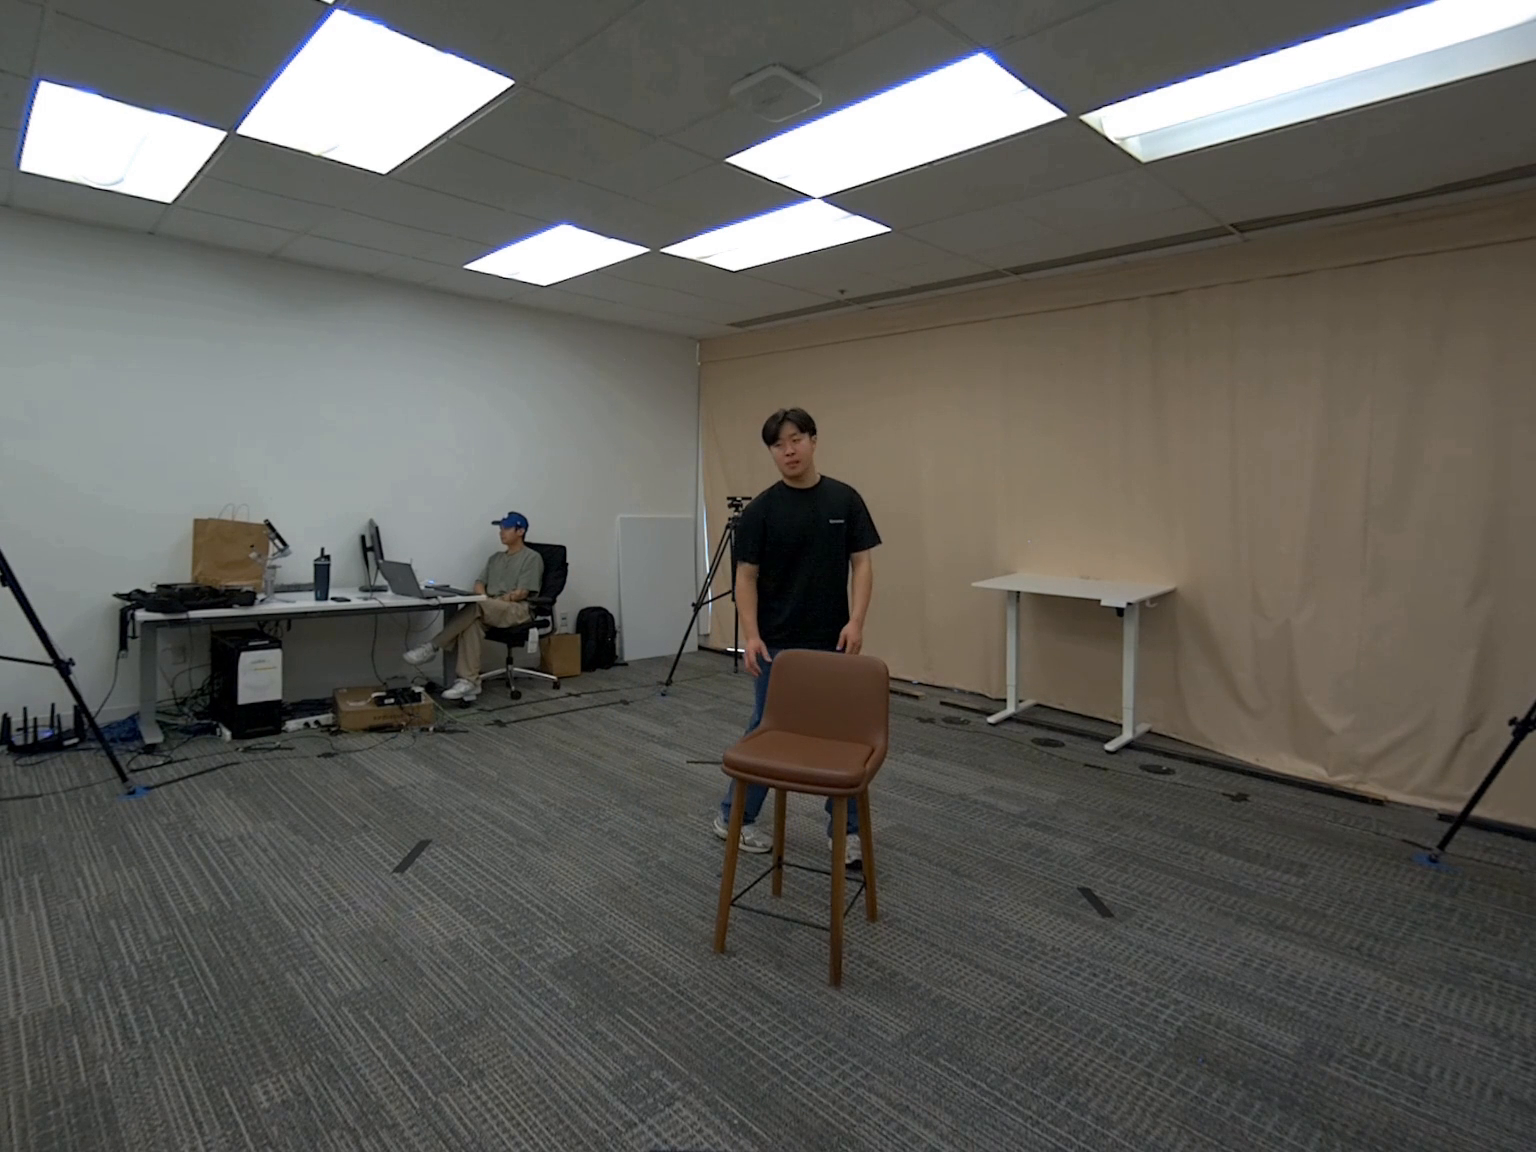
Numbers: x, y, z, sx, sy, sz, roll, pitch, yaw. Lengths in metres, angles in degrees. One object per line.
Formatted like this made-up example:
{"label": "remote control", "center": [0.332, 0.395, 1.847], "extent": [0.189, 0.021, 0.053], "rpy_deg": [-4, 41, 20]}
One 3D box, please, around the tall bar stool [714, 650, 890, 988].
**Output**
{"label": "tall bar stool", "center": [0.116, 0.716, 2.668], "extent": [0.466, 0.889, 0.459], "rpy_deg": [3, 2, 26]}
